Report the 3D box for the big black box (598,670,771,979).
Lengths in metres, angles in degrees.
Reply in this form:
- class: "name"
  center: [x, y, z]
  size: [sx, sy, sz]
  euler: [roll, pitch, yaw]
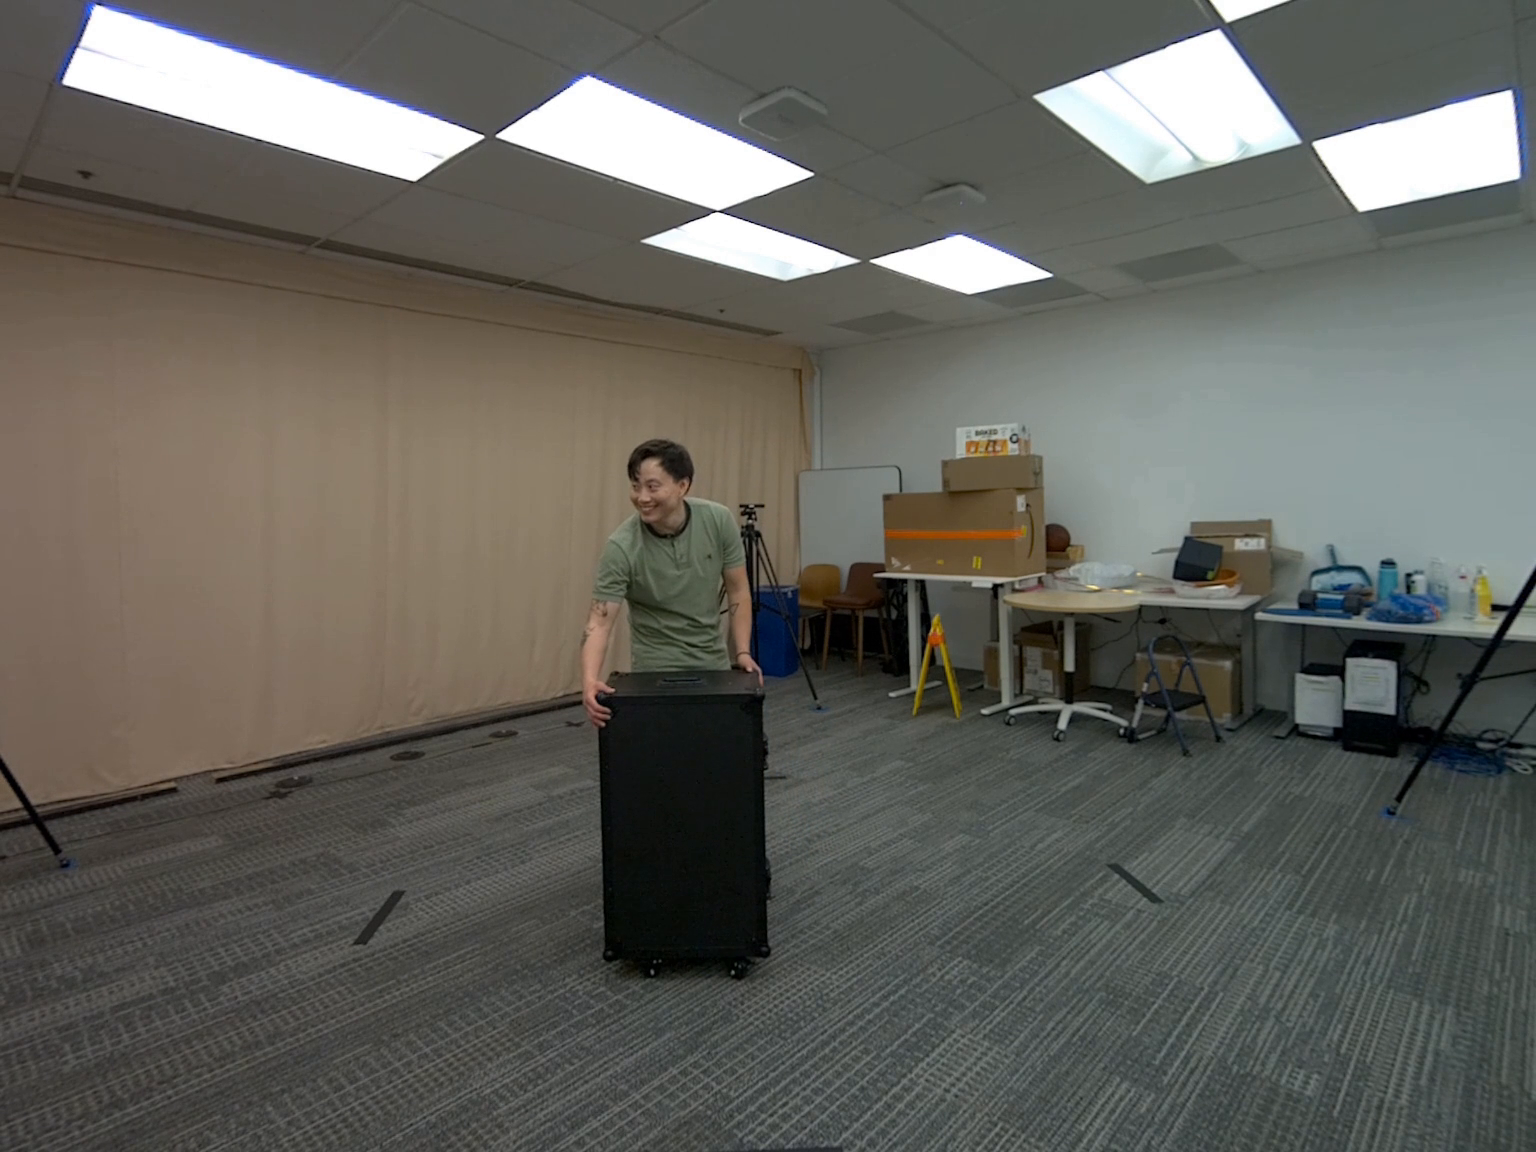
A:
- class: "big black box"
  center: [-0.261, 0.750, 2.626]
  size: [0.522, 0.860, 0.396]
  euler: [-2, 2, 0]
